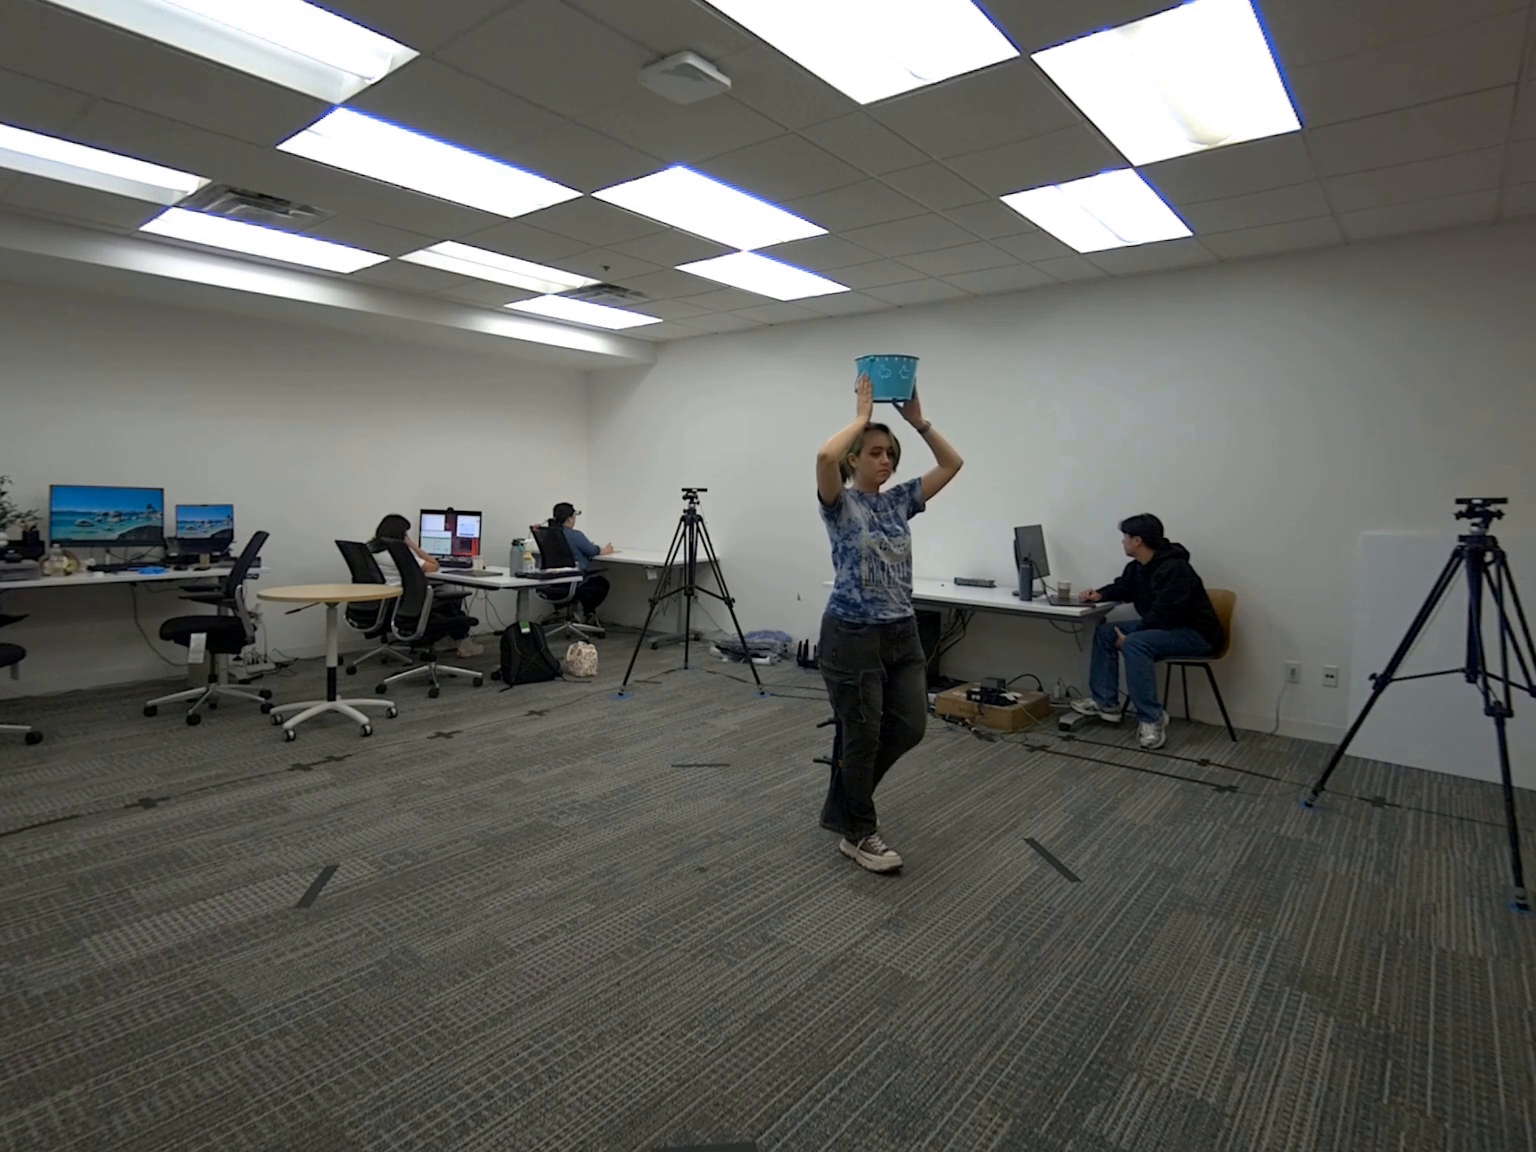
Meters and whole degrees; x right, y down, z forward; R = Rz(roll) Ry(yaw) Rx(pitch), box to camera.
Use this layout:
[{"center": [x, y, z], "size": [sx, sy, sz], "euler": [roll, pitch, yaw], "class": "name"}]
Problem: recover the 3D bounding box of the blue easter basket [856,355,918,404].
[{"center": [0.437, -0.728, 3.135], "size": [0.243, 0.155, 0.245], "euler": [2, 8, -2], "class": "blue easter basket"}]
